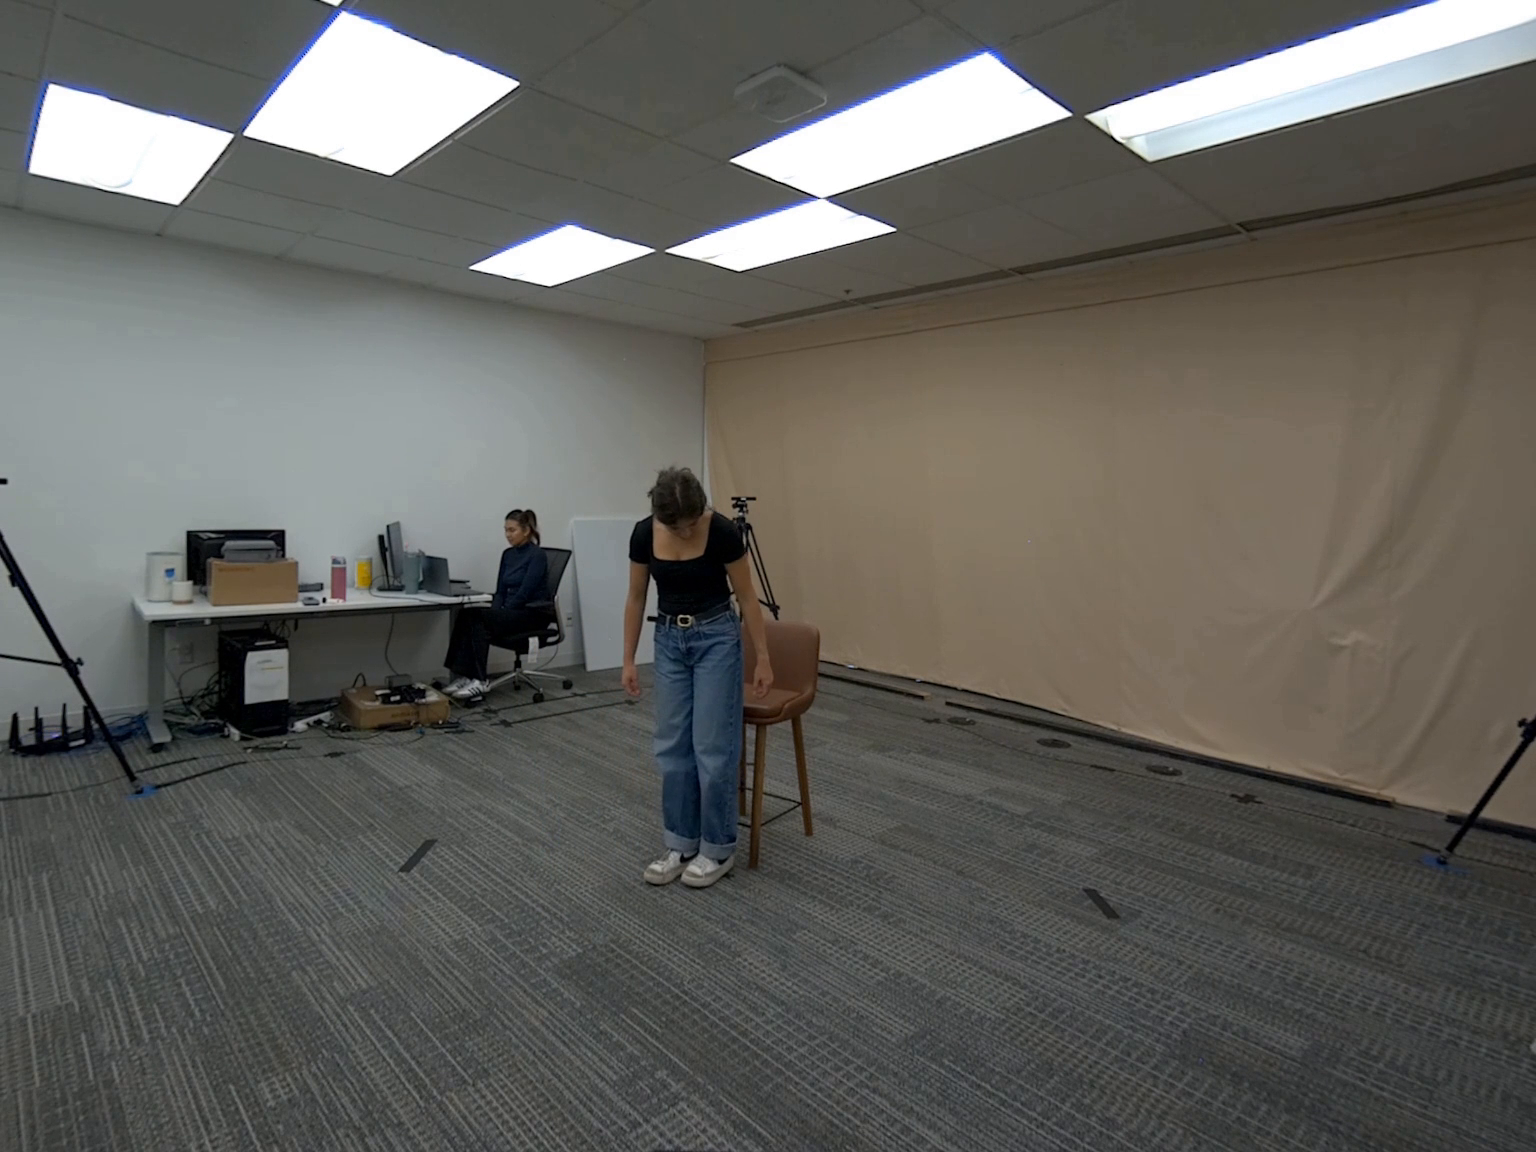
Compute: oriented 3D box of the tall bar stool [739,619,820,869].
[{"bbox_3d":[-0.078,0.646,3.433,0.467,0.889,0.457,4,2,36],"label":"tall bar stool"}]
